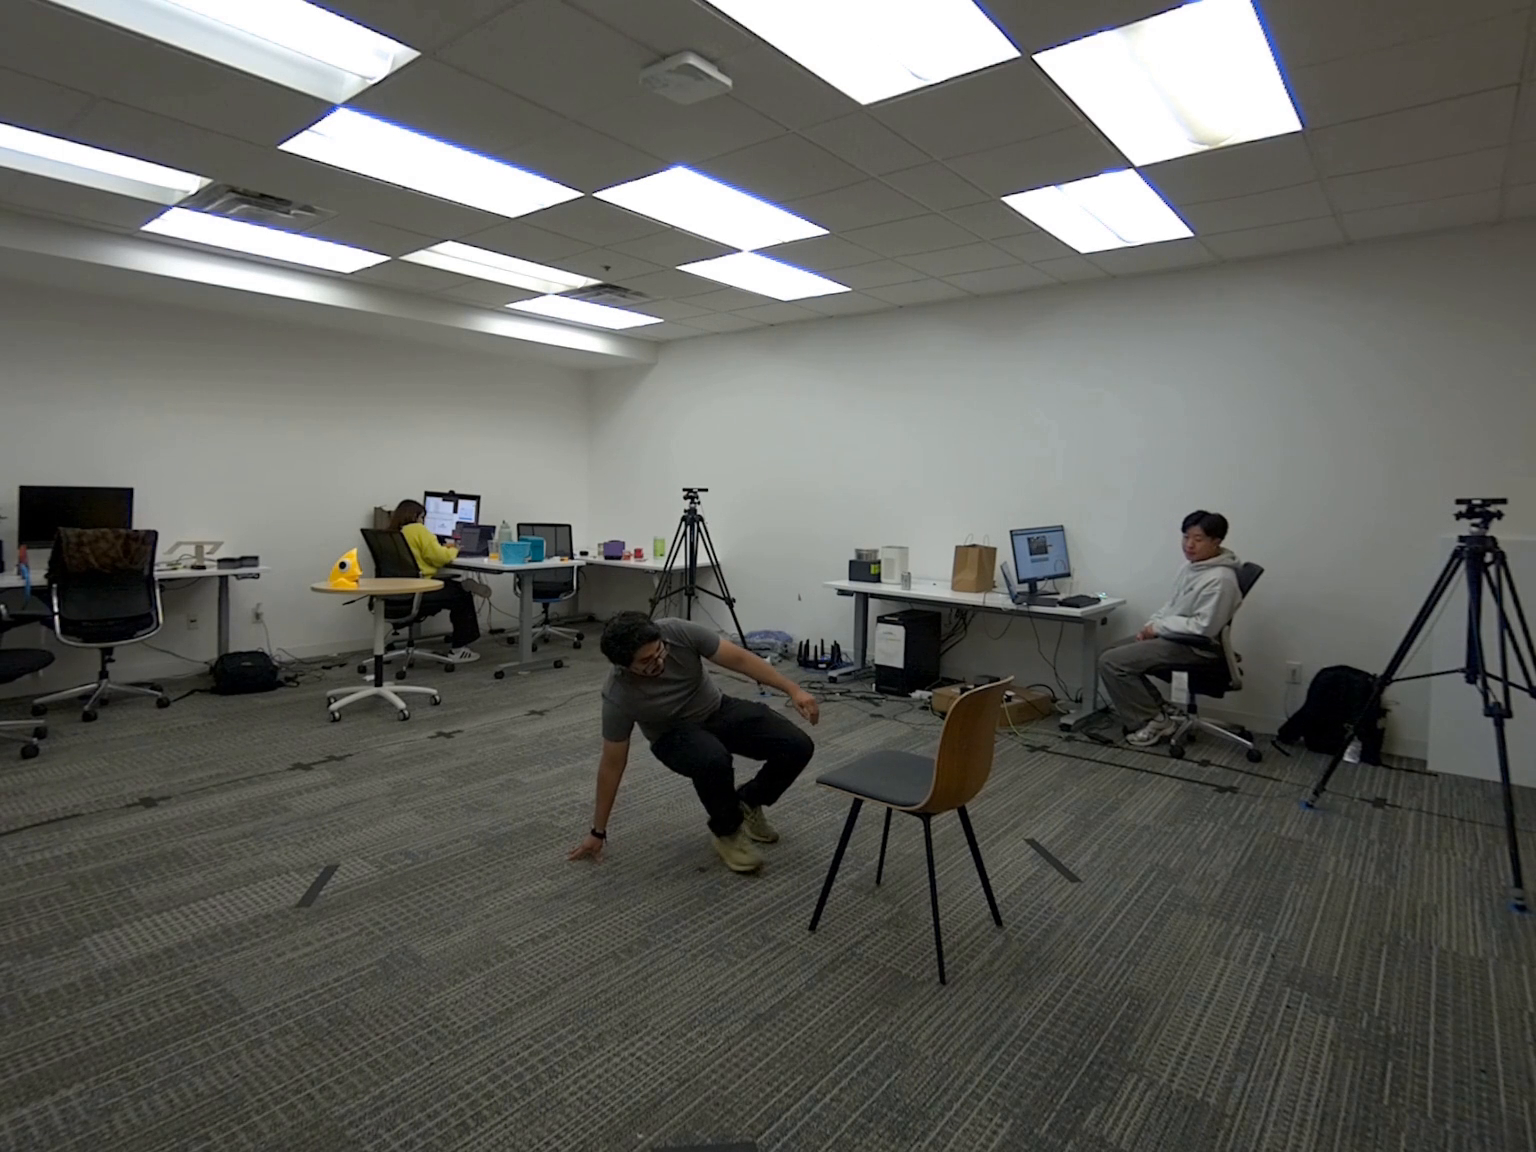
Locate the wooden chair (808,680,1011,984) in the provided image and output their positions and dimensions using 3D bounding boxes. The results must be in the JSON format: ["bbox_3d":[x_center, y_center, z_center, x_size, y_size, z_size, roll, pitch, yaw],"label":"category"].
[{"bbox_3d":[0.443,0.696,2.698,0.542,0.873,0.464,10,7,37],"label":"wooden chair"}]
